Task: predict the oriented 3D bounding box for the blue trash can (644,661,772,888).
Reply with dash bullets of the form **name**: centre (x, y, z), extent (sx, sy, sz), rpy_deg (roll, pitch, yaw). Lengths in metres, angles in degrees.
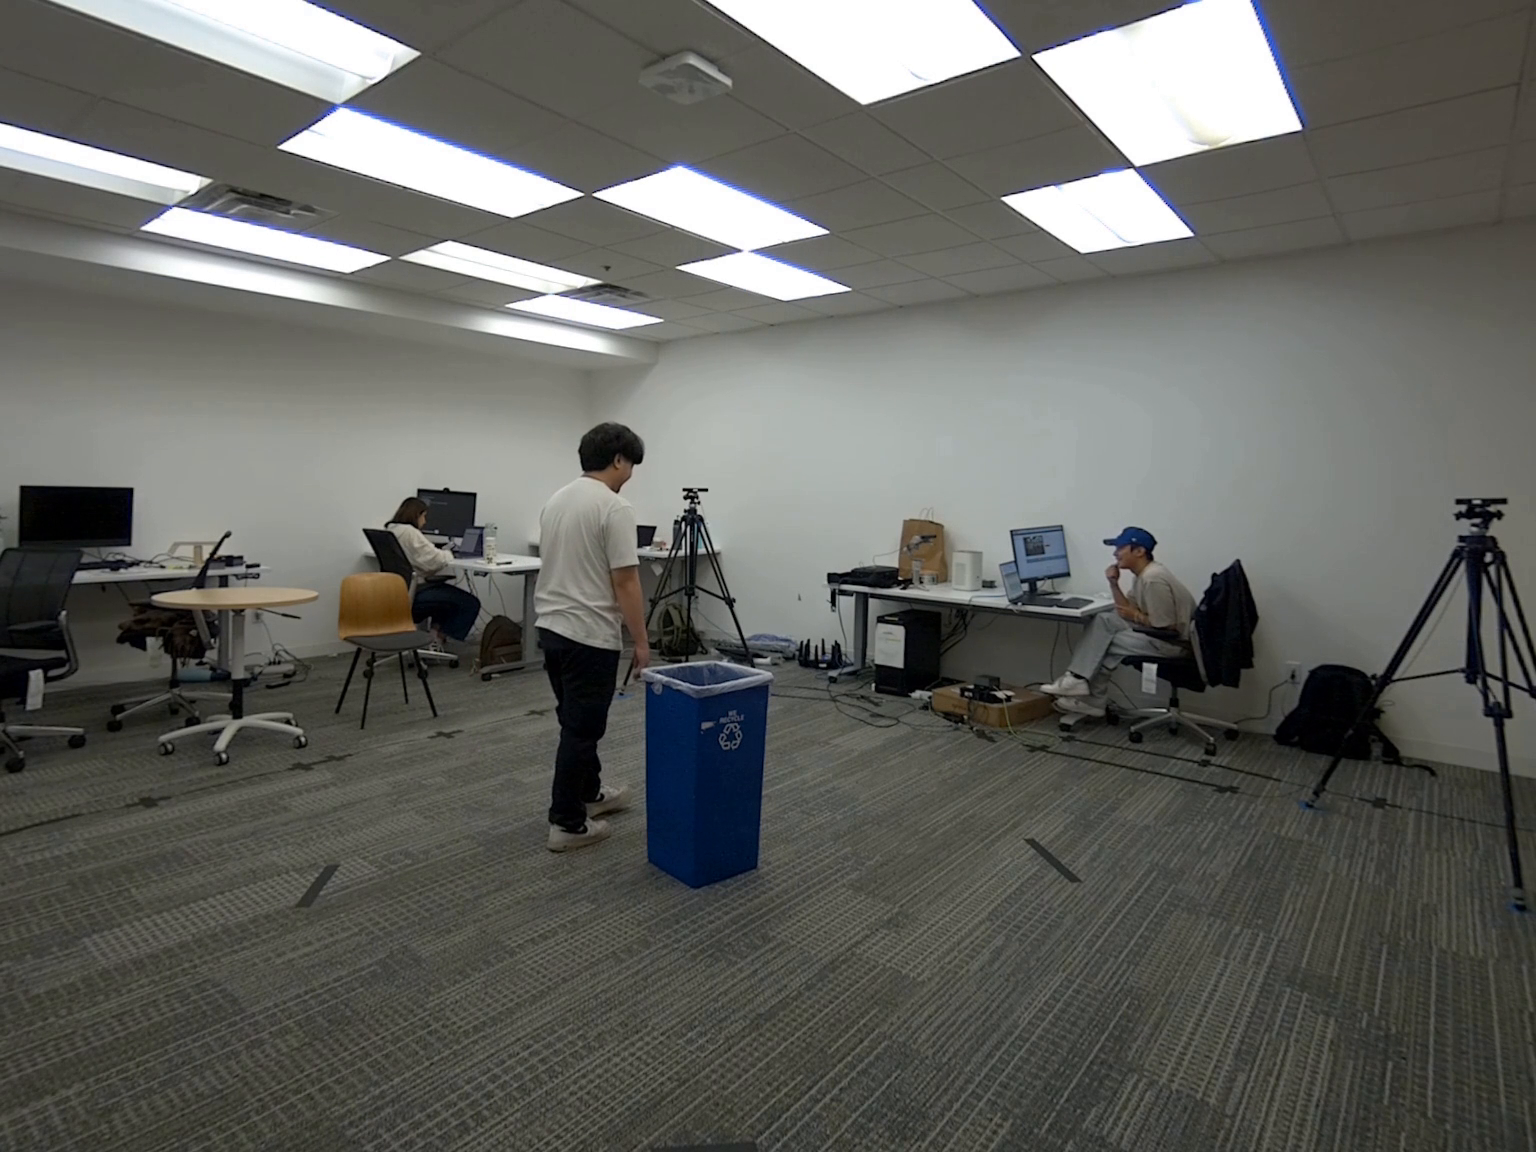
- **blue trash can**: centre (-0.240, 0.707, 3.144), extent (0.363, 0.711, 0.391), rpy_deg (-2, 4, -41)
